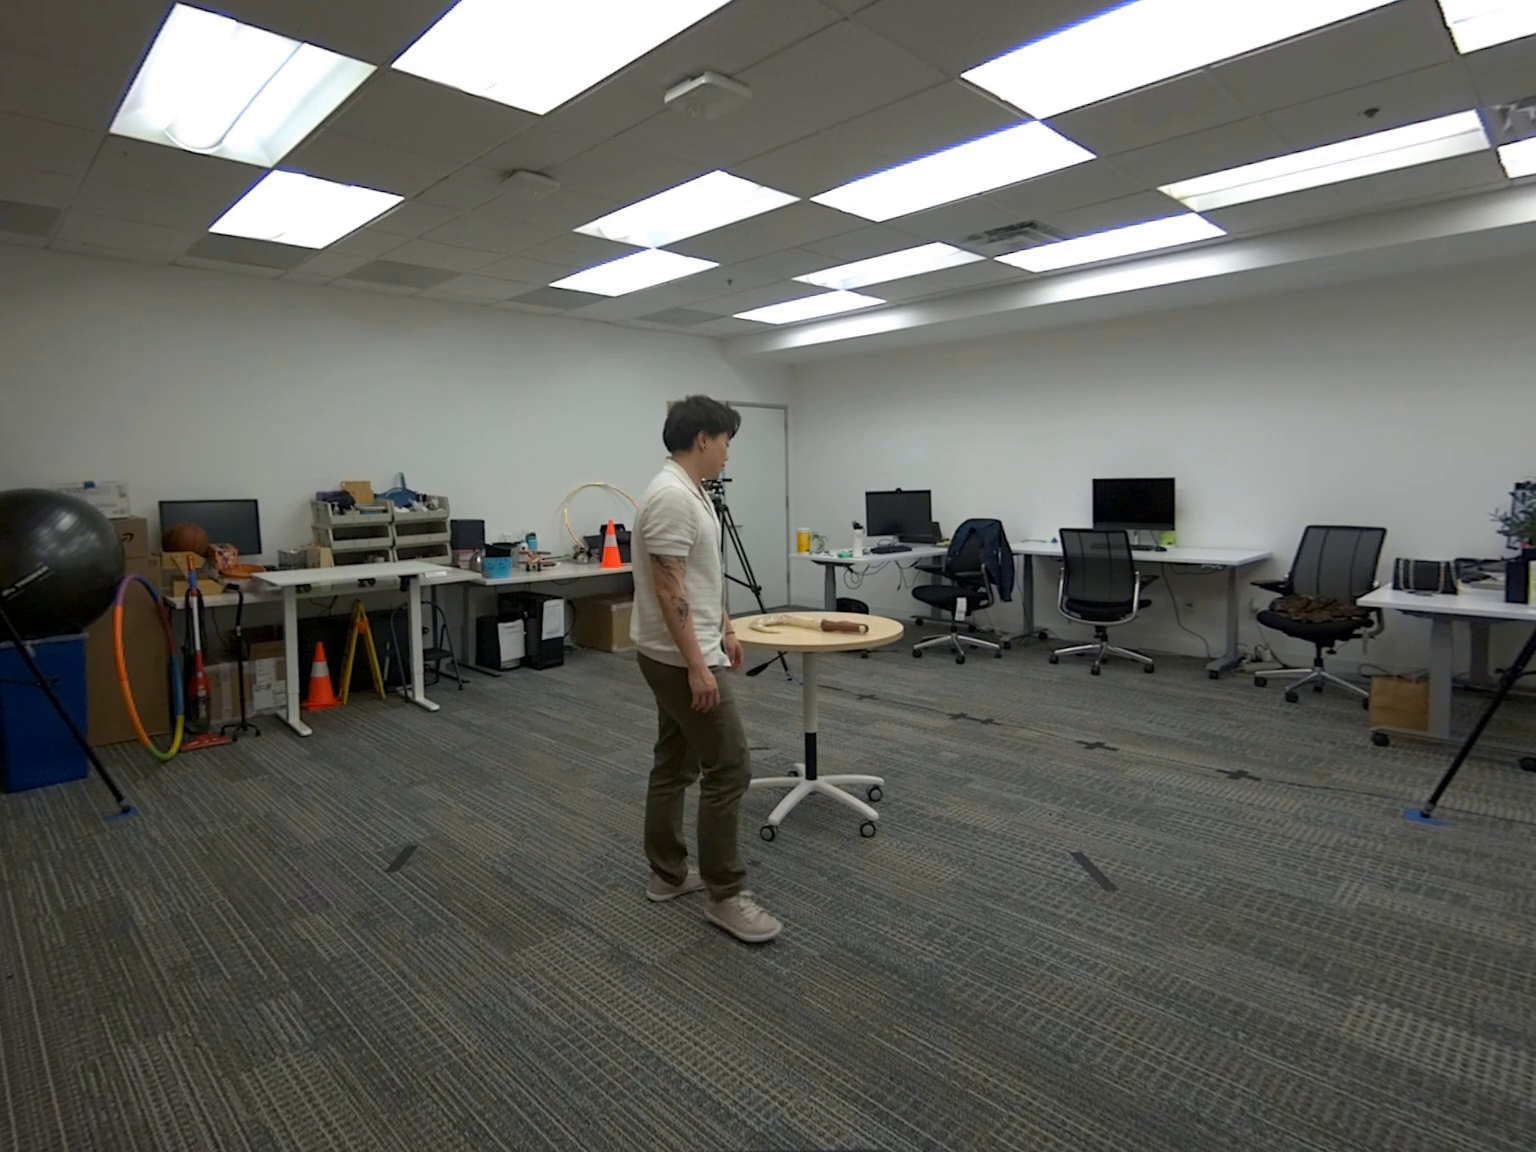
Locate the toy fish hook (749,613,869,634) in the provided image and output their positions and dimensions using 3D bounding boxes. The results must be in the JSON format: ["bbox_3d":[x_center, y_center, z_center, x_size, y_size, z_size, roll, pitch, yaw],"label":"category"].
[{"bbox_3d":[0.160,0.211,3.436,0.521,0.048,0.221,2,16,36],"label":"toy fish hook"}]
